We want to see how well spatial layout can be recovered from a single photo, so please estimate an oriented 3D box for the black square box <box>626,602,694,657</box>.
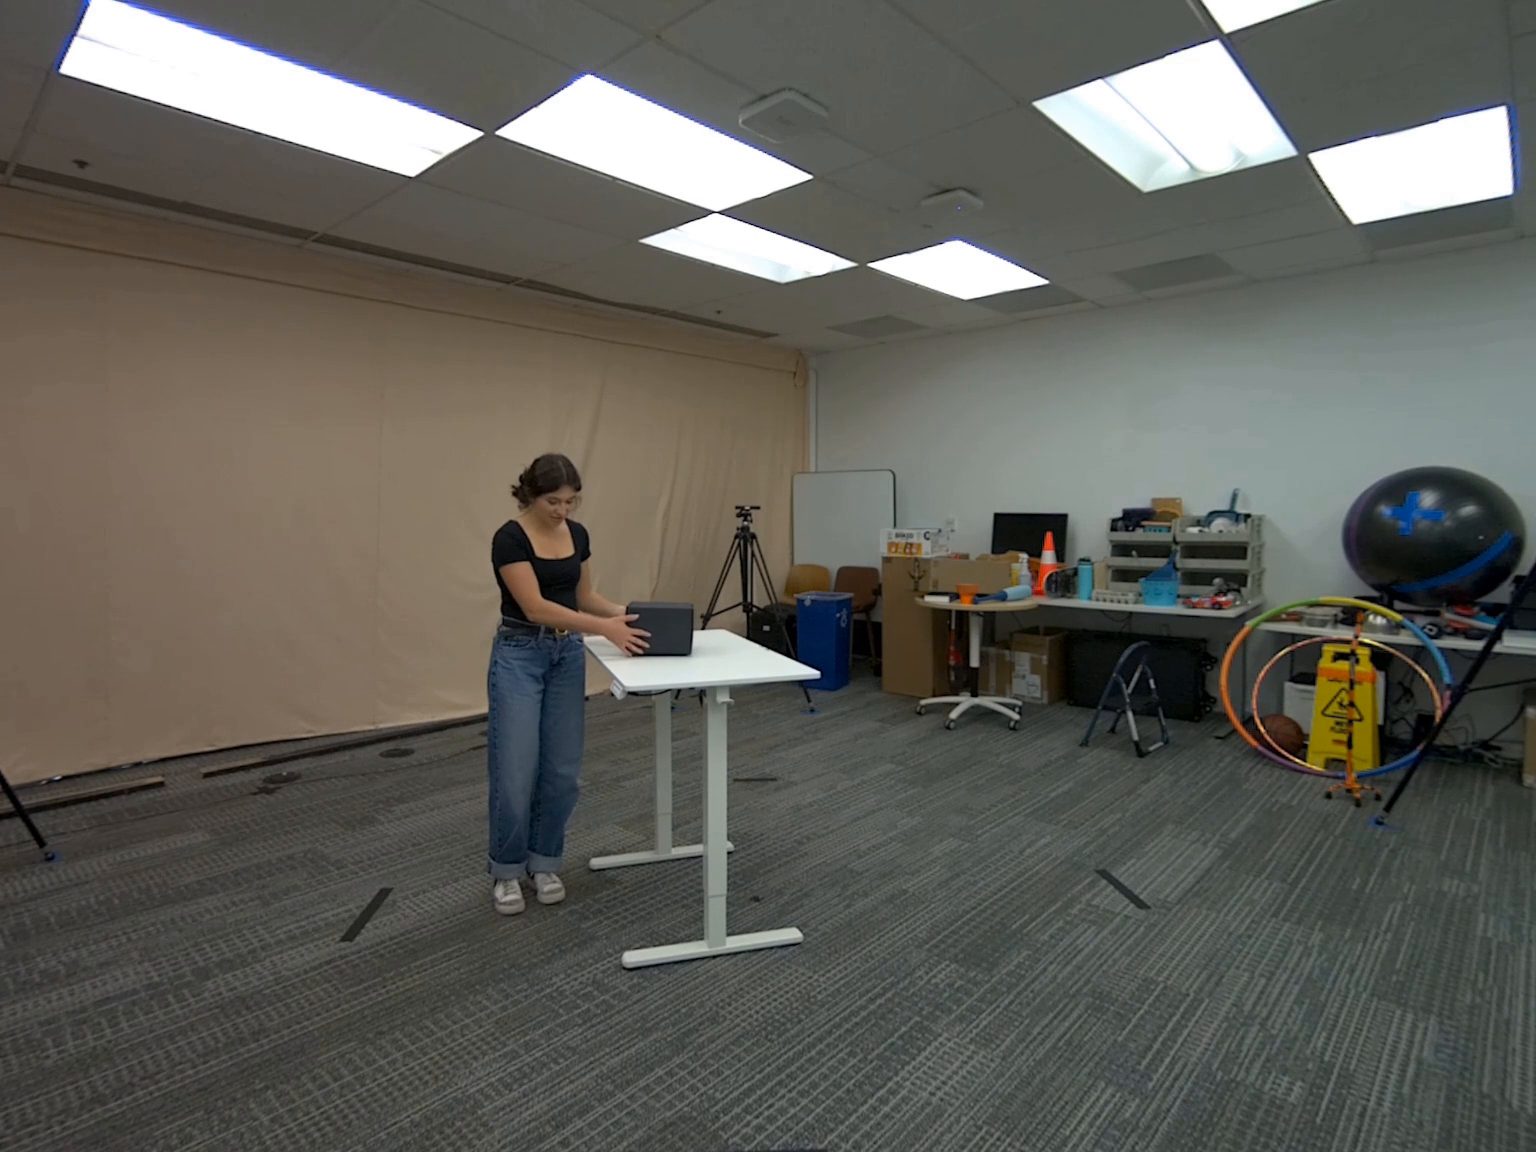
[{"bbox_3d":[-0.376,0.175,2.947,0.227,0.156,0.218,1,2,-4],"label":"black square box"}]
